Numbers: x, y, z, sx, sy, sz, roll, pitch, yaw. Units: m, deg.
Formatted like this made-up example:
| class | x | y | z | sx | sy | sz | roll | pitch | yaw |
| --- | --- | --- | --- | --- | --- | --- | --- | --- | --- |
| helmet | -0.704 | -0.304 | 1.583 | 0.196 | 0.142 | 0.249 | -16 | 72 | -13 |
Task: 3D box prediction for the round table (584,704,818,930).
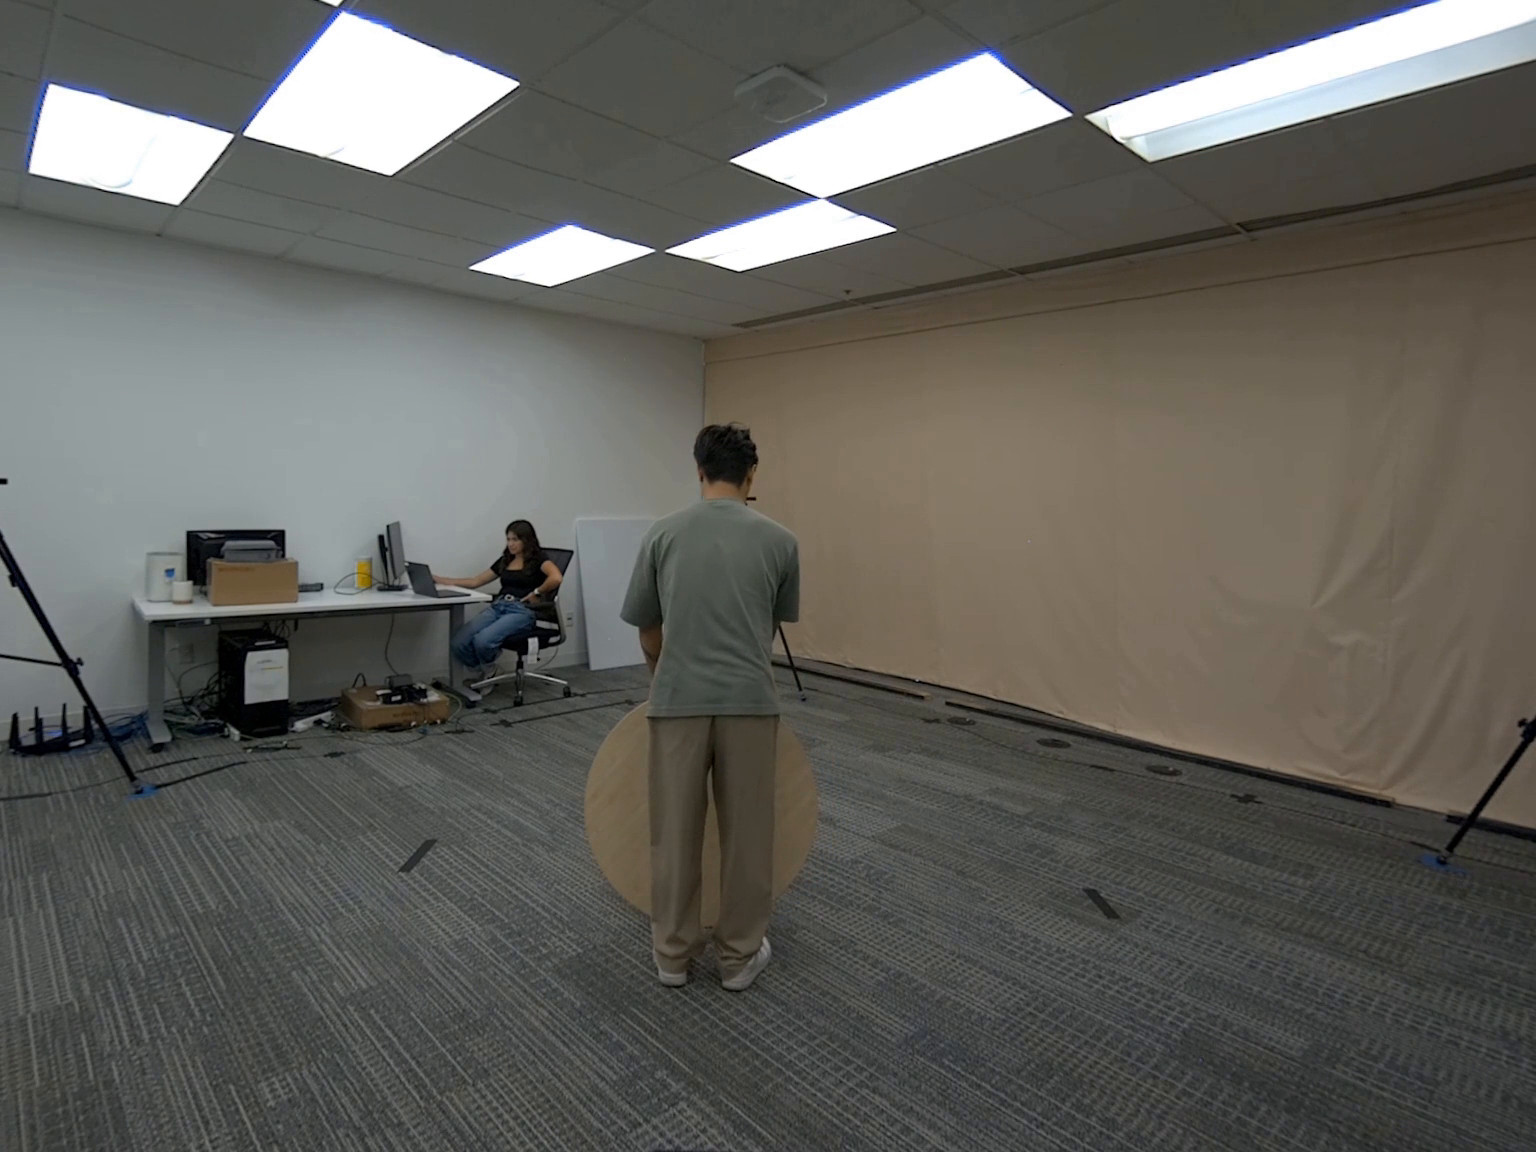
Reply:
| class | x | y | z | sx | sy | sz | roll | pitch | yaw |
| --- | --- | --- | --- | --- | --- | --- | --- | --- | --- |
| round table | -0.255 | 0.759 | 3.149 | 0.783 | 0.786 | 0.787 | 1 | -2 | -4 |
